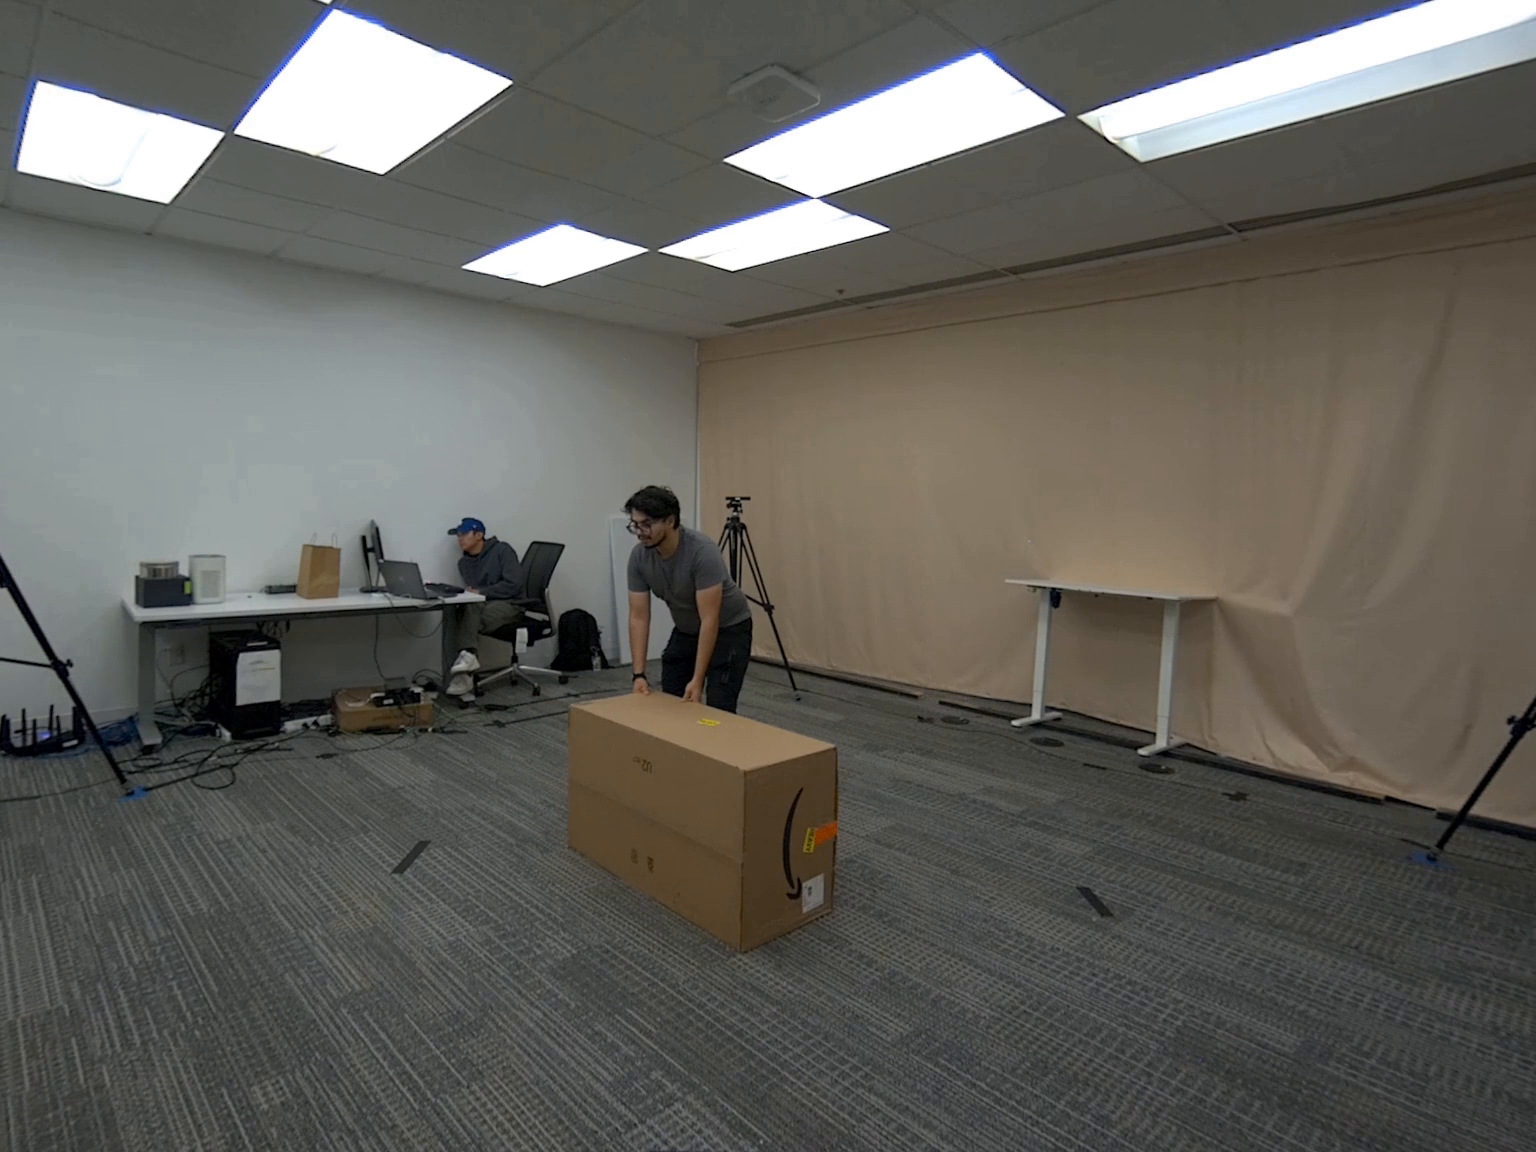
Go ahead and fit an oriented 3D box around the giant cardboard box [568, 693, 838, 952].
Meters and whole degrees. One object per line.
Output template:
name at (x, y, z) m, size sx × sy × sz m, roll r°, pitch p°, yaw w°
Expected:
giant cardboard box at (-0.283, 0.823, 3.068) m, size 0.416 × 0.576 × 1.052 m, roll -3°, pitch 6°, yaw -43°
